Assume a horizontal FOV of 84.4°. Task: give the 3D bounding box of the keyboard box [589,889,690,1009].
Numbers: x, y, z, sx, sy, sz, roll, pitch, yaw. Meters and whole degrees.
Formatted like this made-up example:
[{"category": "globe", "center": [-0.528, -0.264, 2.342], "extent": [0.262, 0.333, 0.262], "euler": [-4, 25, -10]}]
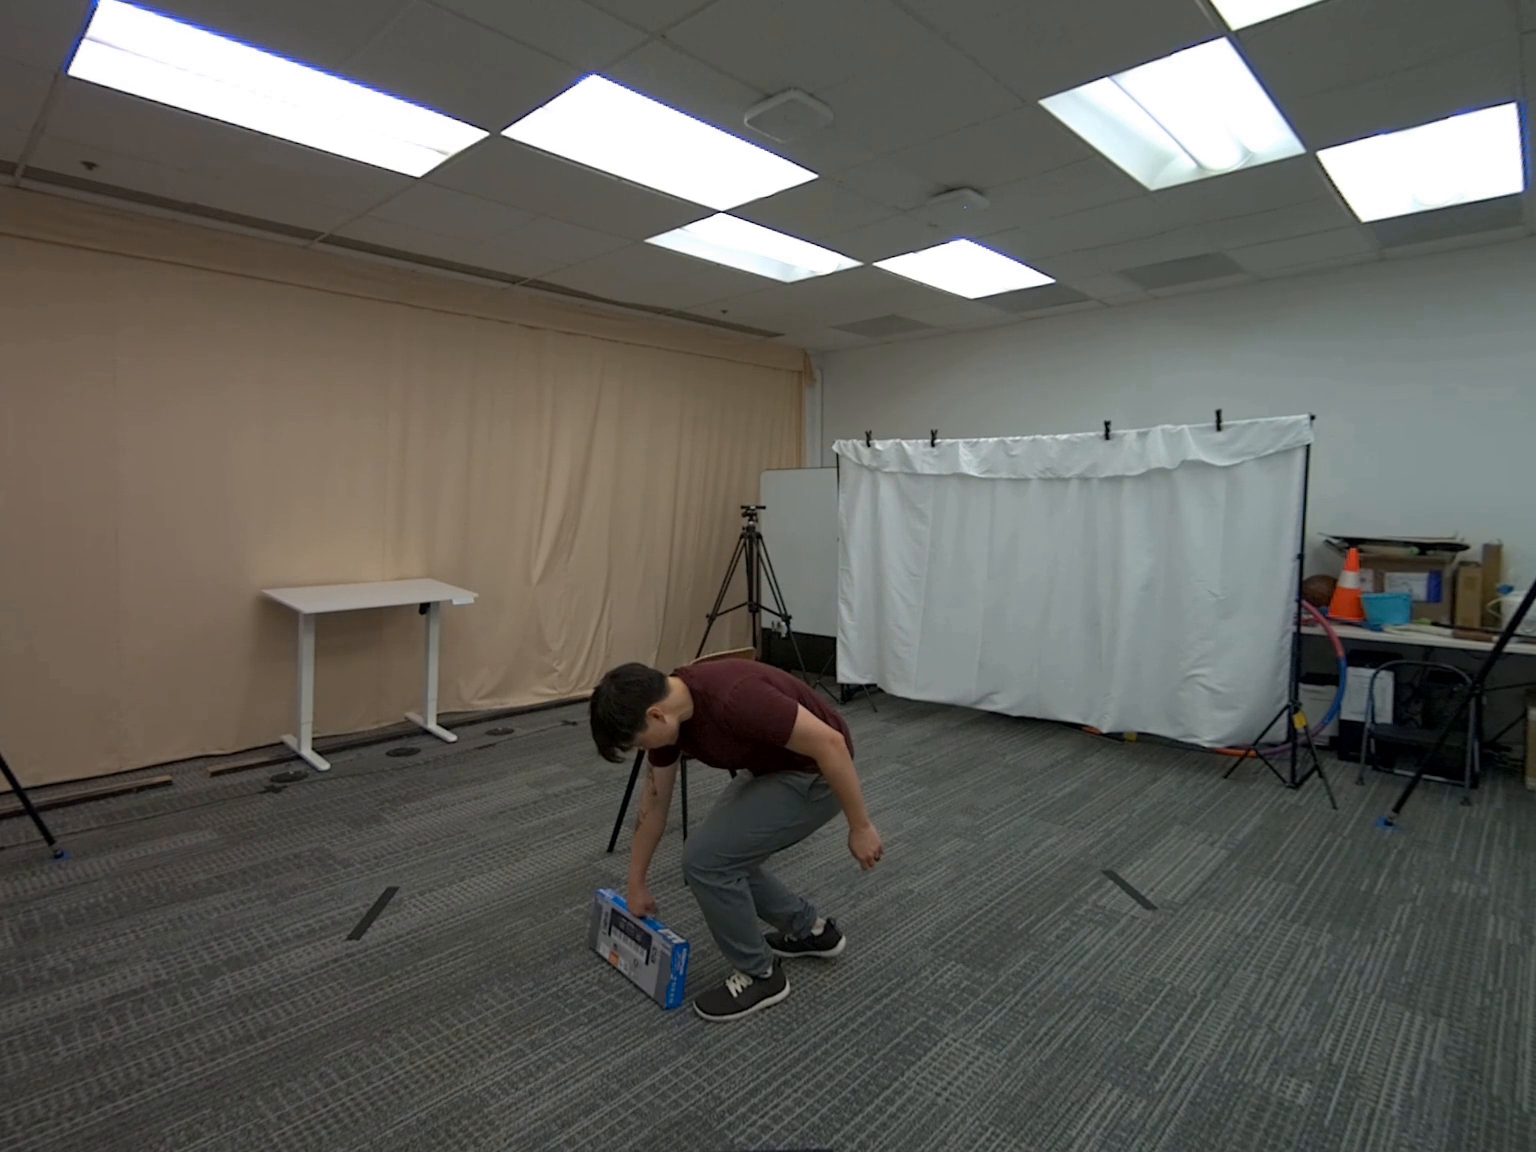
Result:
[{"category": "keyboard box", "center": [-0.391, 1.092, 2.512], "extent": [0.057, 0.176, 0.451], "euler": [10, -3, -40]}]
